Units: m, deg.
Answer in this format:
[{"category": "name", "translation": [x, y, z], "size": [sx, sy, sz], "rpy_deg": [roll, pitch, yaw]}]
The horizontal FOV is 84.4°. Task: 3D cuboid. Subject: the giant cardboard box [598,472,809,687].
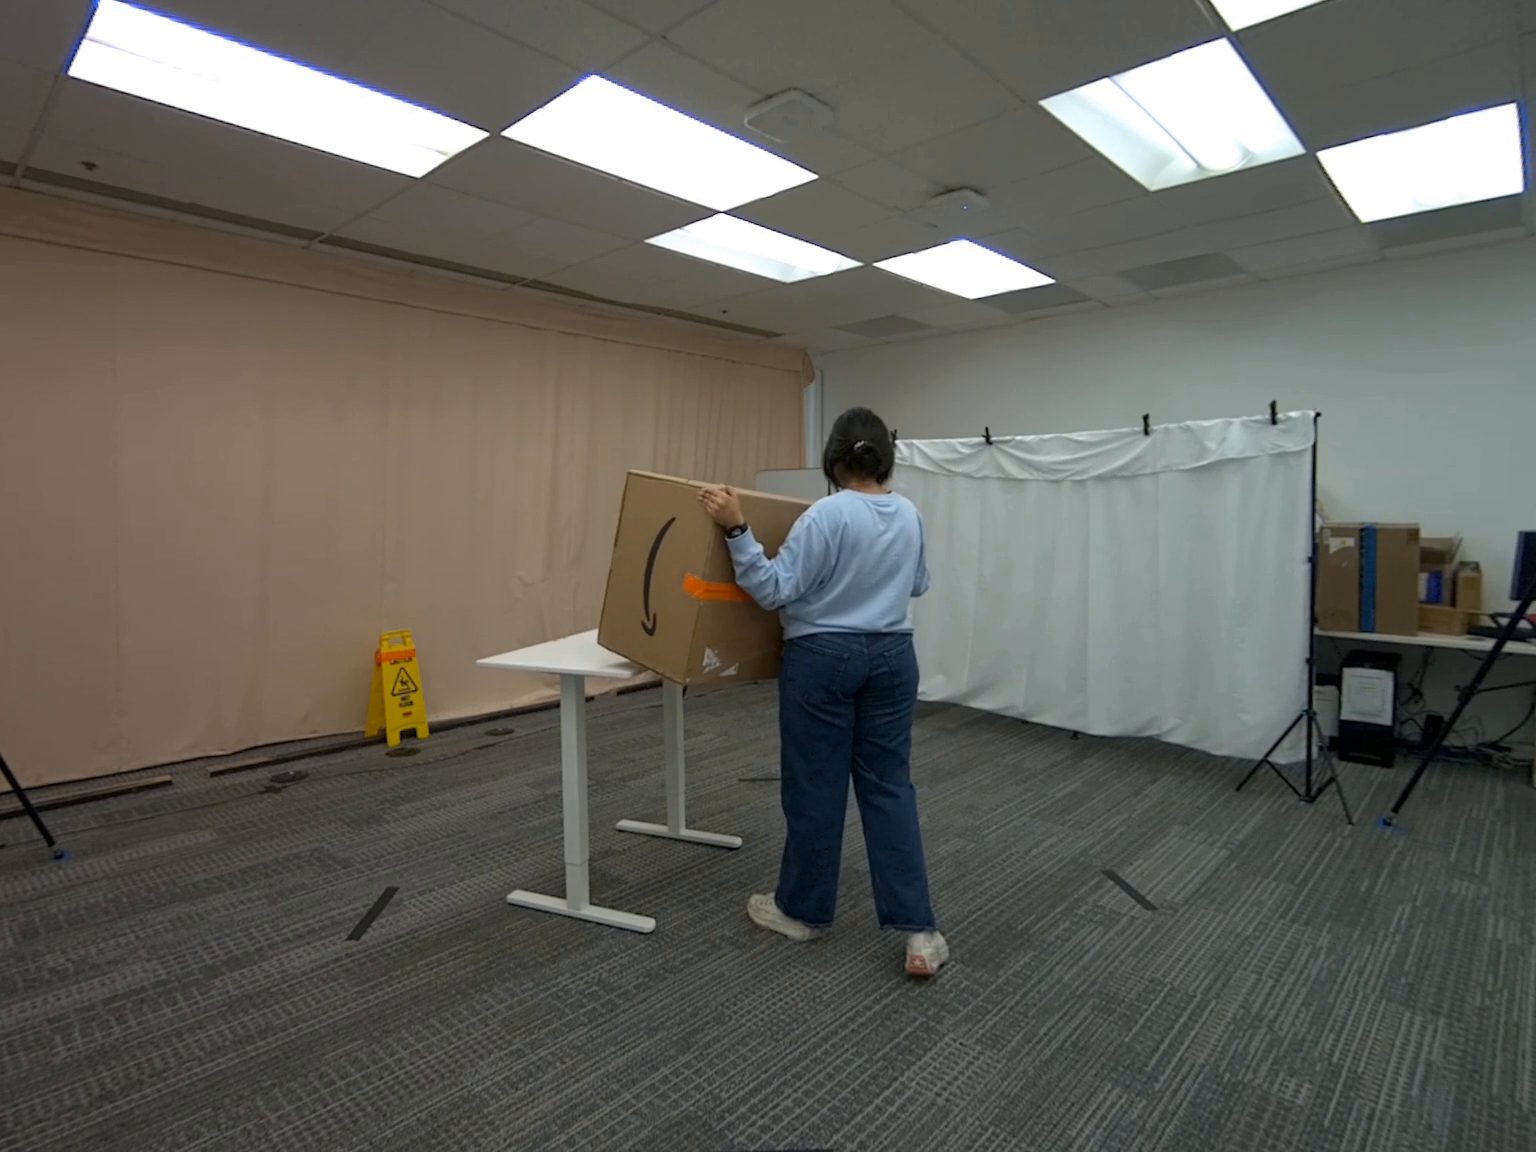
[{"category": "giant cardboard box", "translation": [-0.013, 0.013, 2.908], "size": [0.442, 0.576, 0.992], "rpy_deg": [17, 9, 42]}]
